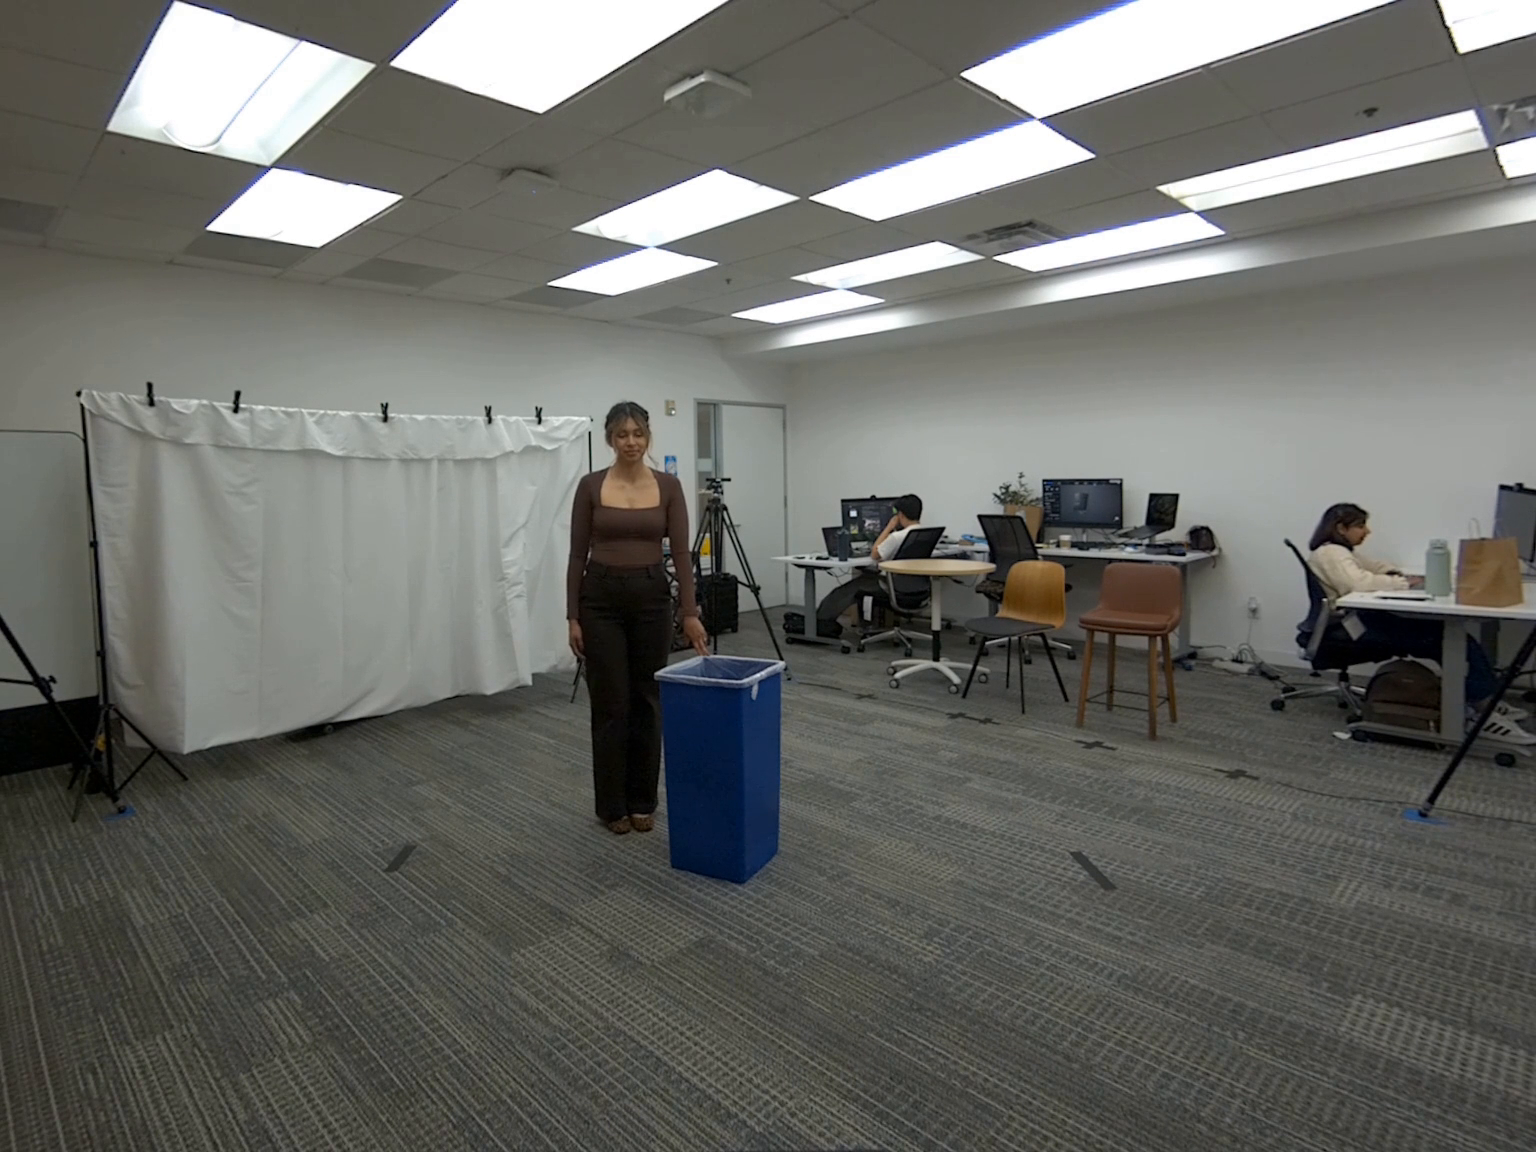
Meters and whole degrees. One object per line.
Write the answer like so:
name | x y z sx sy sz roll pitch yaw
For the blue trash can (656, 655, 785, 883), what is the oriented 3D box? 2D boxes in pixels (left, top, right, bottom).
blue trash can | -0.165 0.683 3.117 0.383 0.711 0.370 2 4 27
